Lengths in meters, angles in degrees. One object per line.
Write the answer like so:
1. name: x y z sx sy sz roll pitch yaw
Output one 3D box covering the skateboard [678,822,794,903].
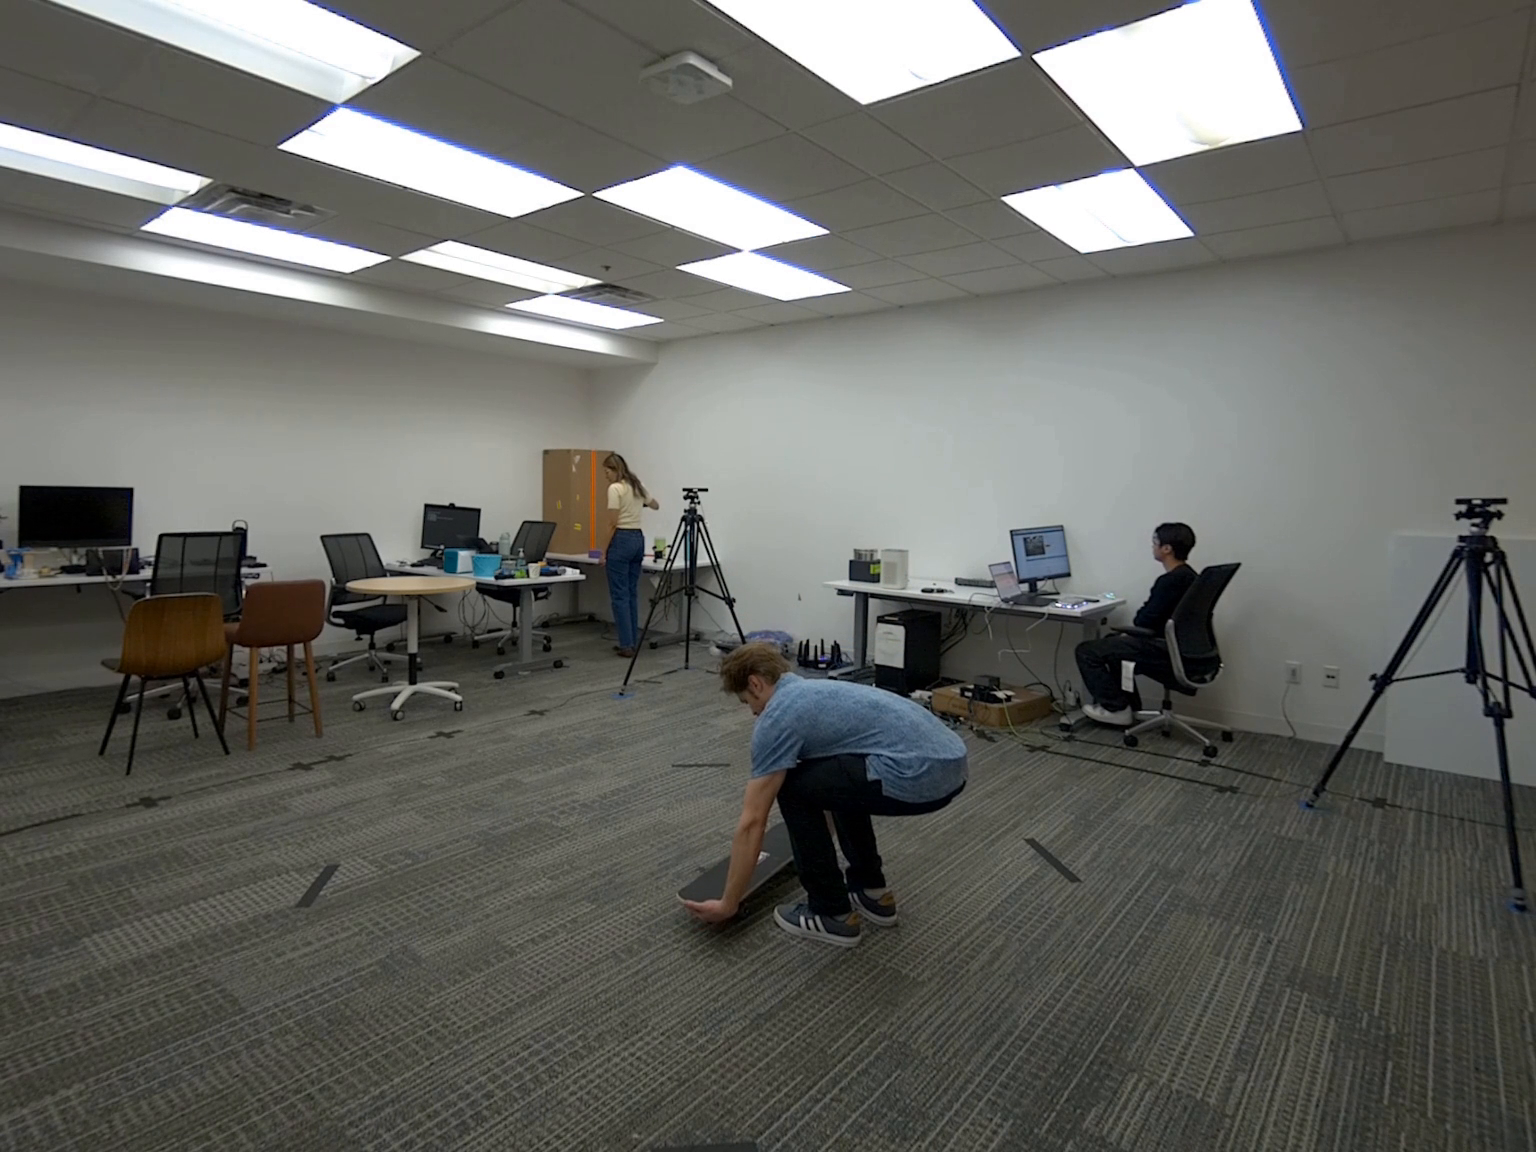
1. skateboard: -0.059 1.021 2.961 0.199 0.110 0.766 3 7 30
